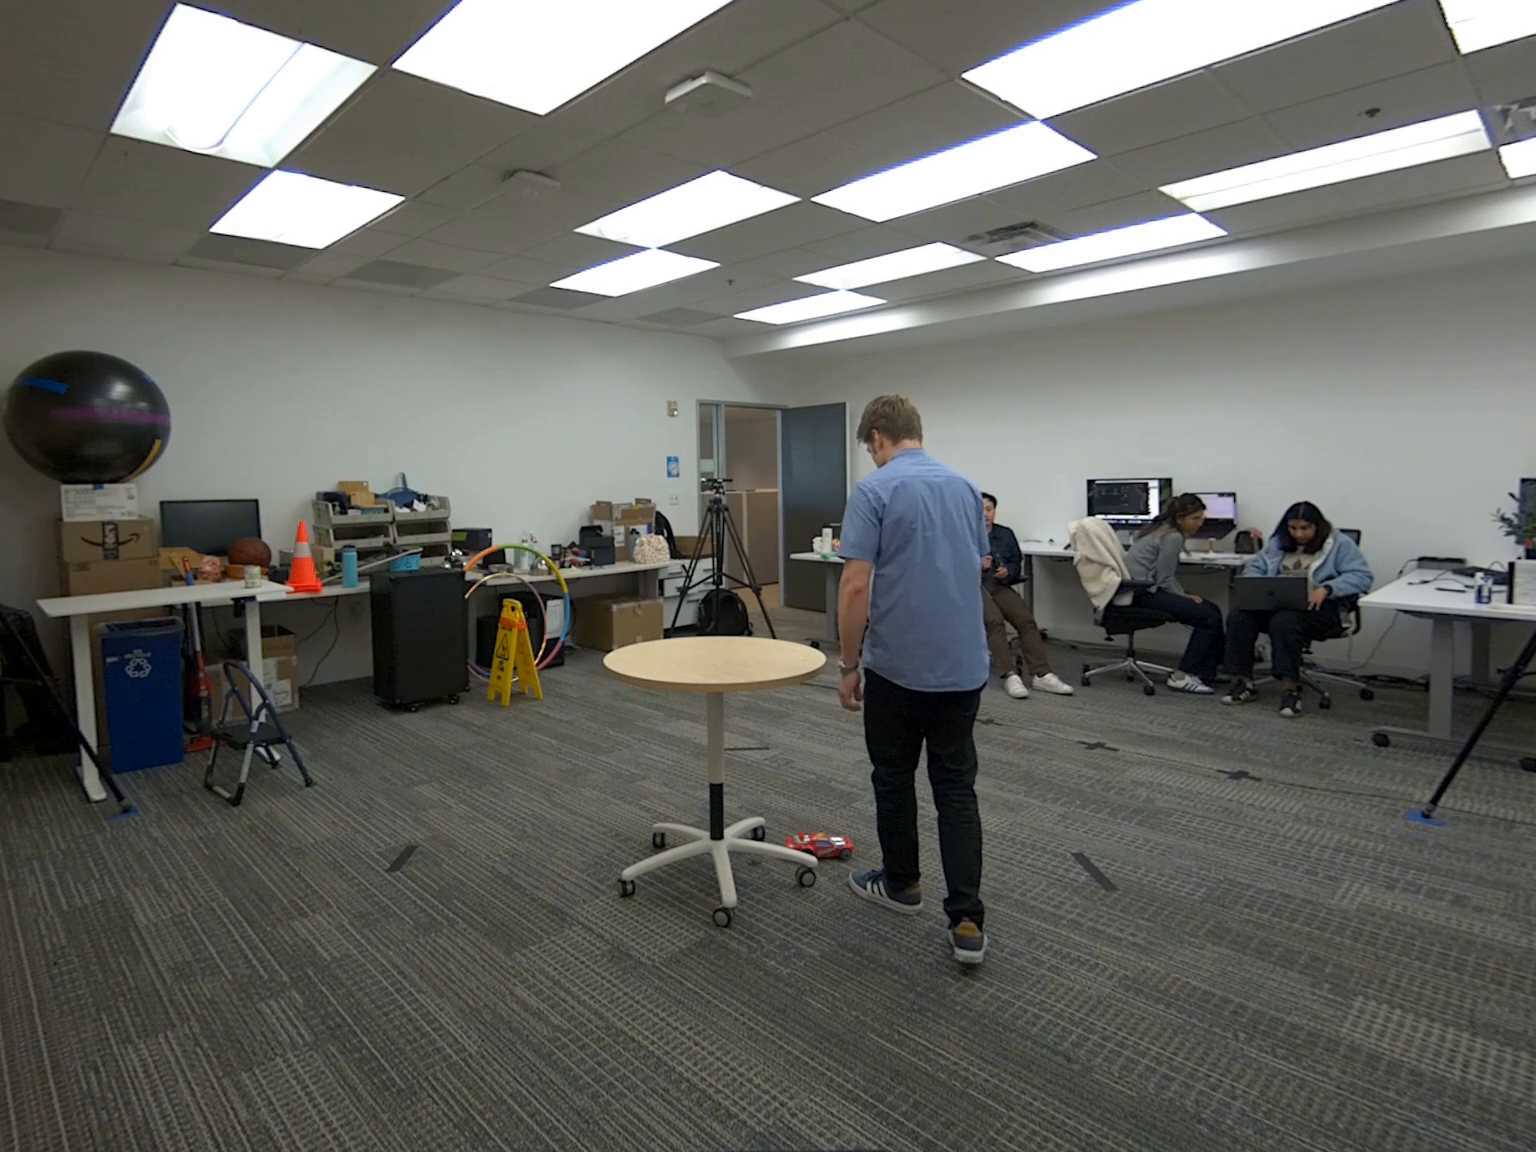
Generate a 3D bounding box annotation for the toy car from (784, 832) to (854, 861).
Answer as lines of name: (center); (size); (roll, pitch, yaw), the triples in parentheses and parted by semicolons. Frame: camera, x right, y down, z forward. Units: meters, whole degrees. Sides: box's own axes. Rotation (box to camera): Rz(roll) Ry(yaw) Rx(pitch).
toy car: (0.193, 1.003, 3.164); (0.253, 0.083, 0.131); (9, 3, -6)
